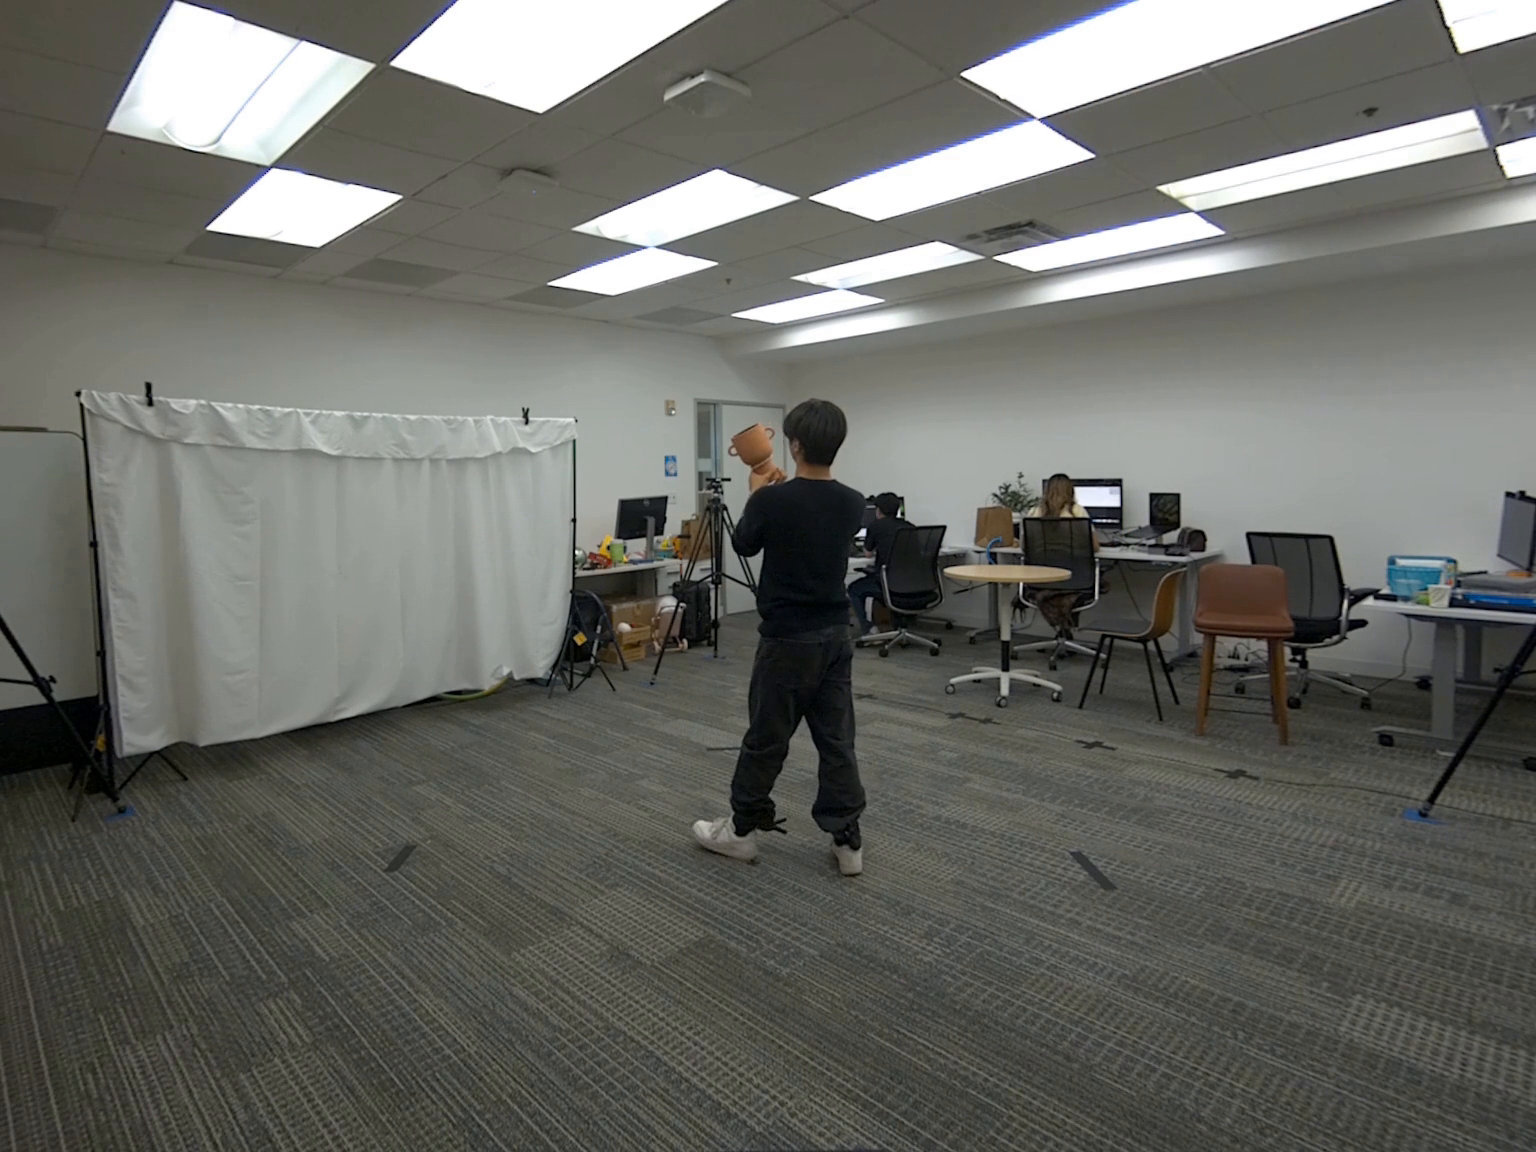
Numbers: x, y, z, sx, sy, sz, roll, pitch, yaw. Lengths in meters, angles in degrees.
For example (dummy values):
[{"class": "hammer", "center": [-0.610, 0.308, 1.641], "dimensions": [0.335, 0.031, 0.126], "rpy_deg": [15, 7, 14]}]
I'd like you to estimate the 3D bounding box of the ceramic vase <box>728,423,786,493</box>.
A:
[{"class": "ceramic vase", "center": [-0.038, -0.471, 3.324], "dimensions": [0.162, 0.217, 0.134], "rpy_deg": [-16, 15, 44]}]
